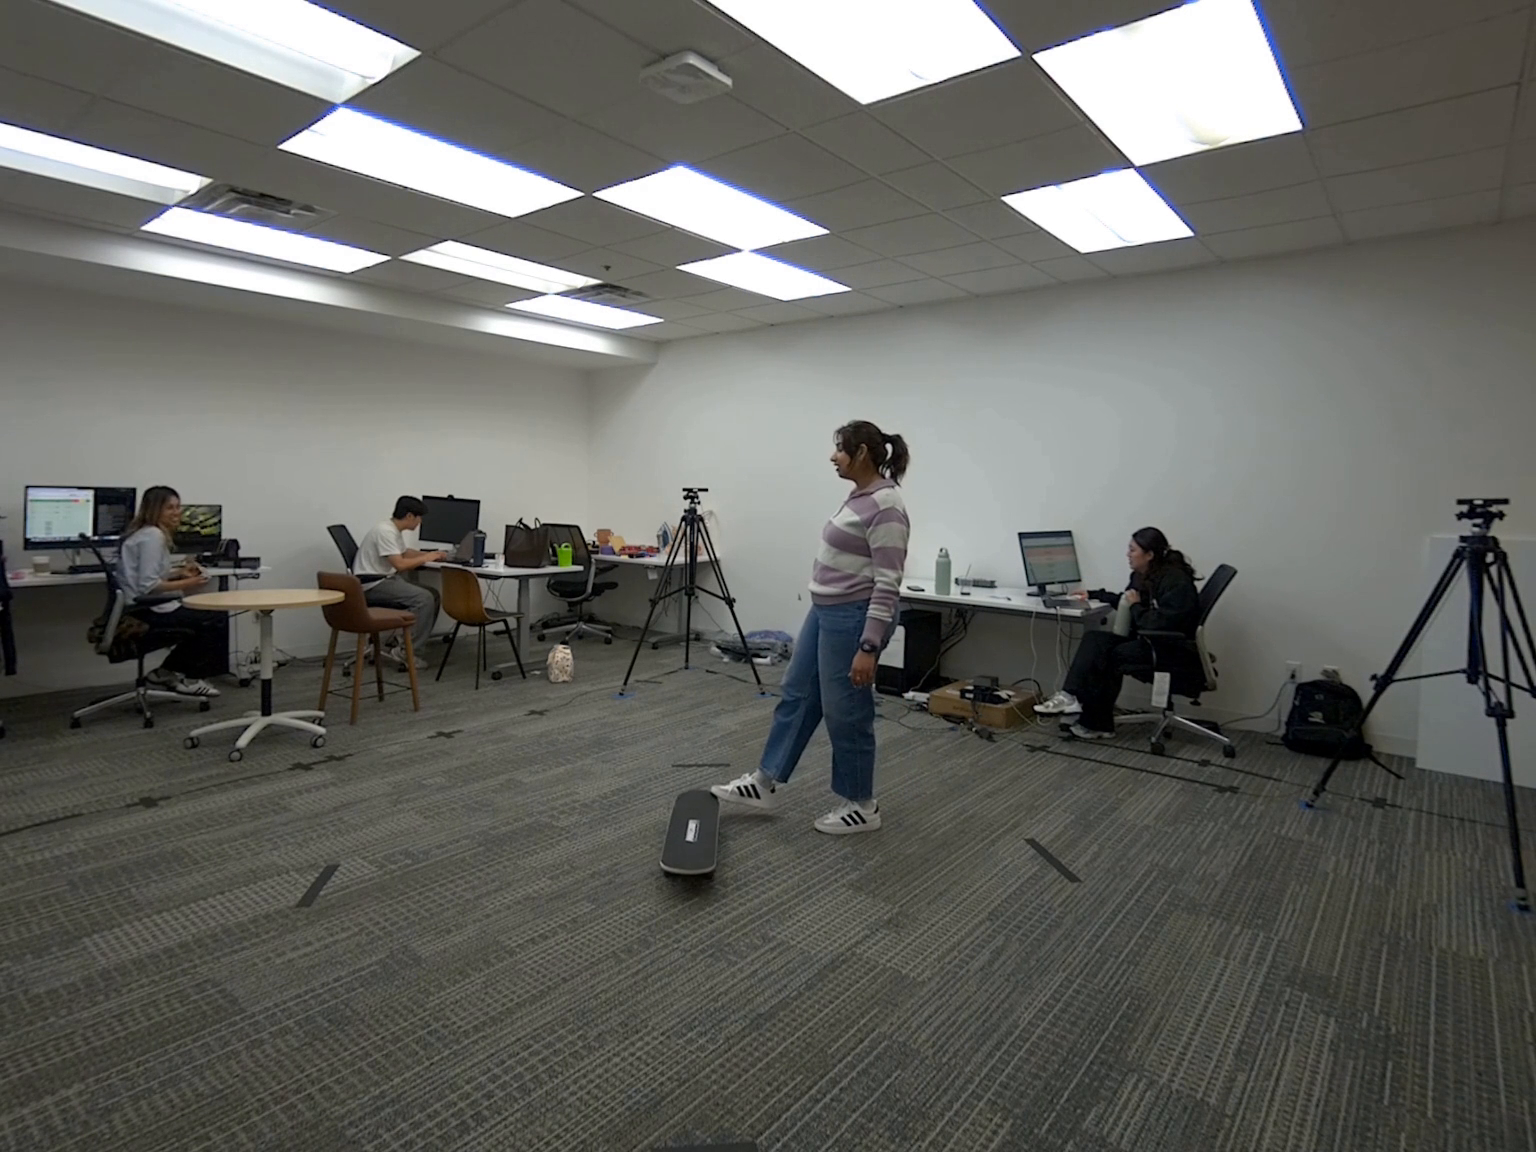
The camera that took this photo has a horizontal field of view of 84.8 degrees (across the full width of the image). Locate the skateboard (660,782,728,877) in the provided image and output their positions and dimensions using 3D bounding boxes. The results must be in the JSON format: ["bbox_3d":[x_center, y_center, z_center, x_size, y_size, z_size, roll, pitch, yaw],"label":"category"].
[{"bbox_3d":[-0.297,0.997,3.242,0.193,0.110,0.788,1,5,-1],"label":"skateboard"}]
